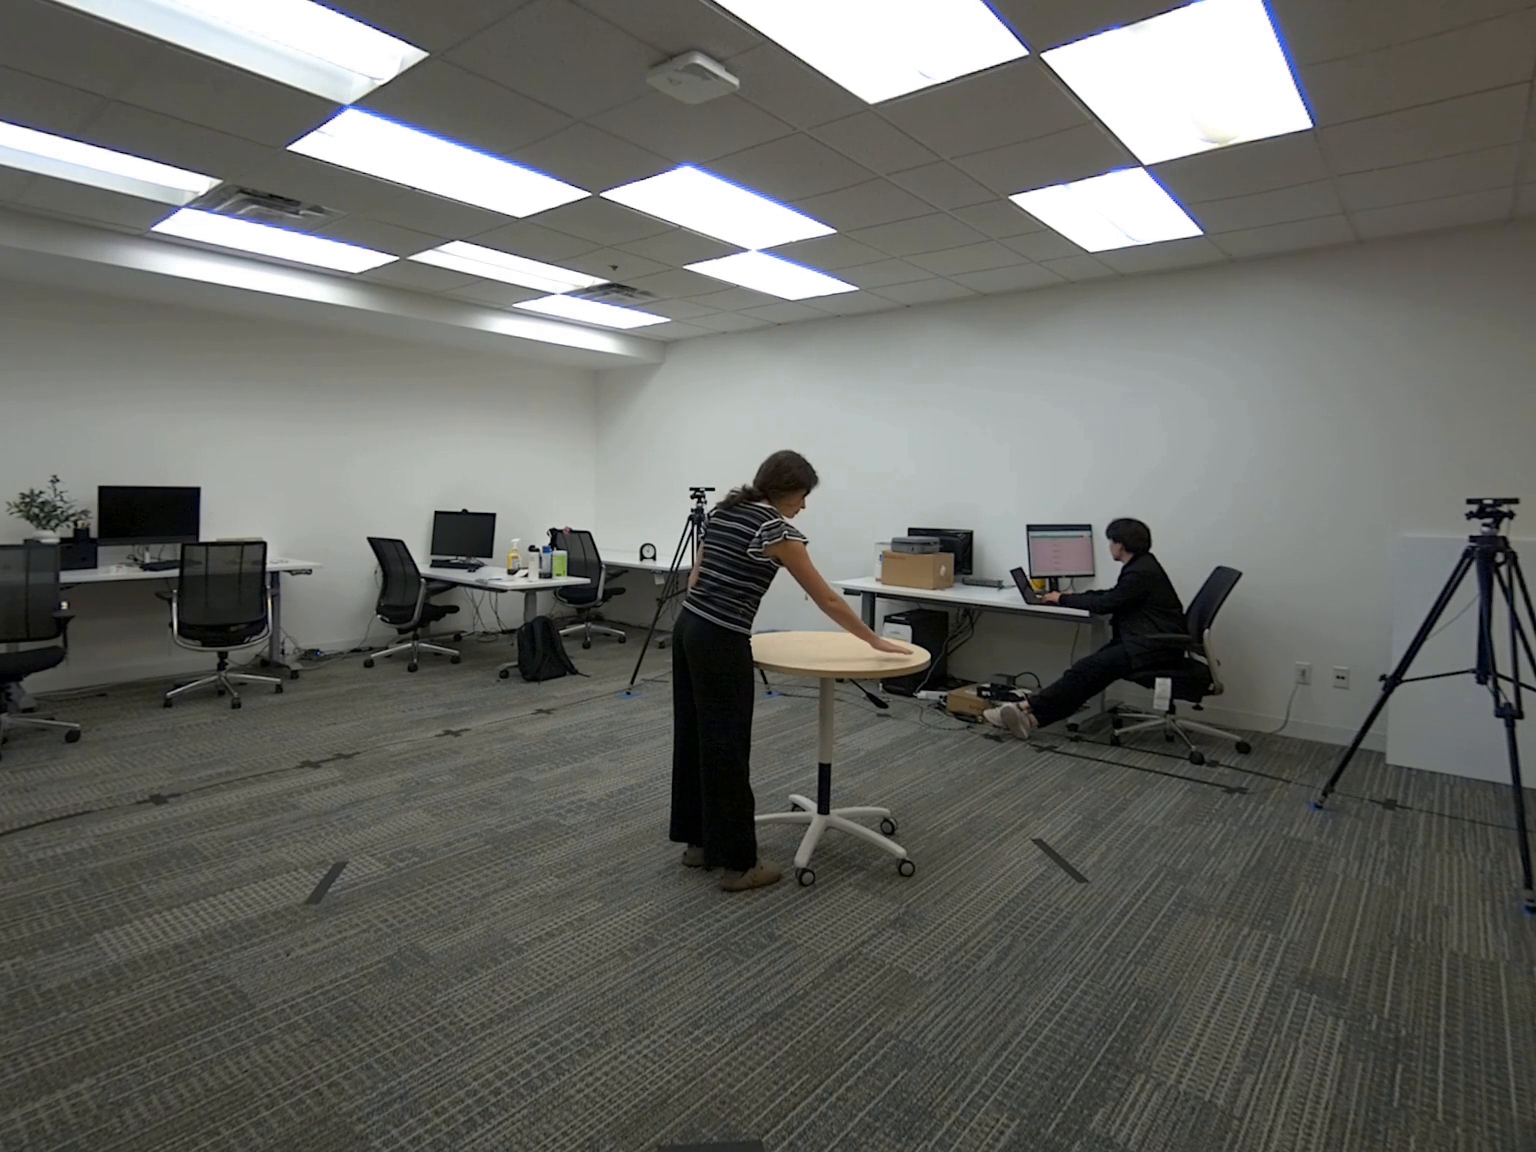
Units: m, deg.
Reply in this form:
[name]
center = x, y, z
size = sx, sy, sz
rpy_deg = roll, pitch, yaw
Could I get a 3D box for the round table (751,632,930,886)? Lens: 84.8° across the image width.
[round table]
center = 0.217, 0.670, 3.293
size = 0.763, 0.791, 0.768
rpy_deg = 1, 5, -2
